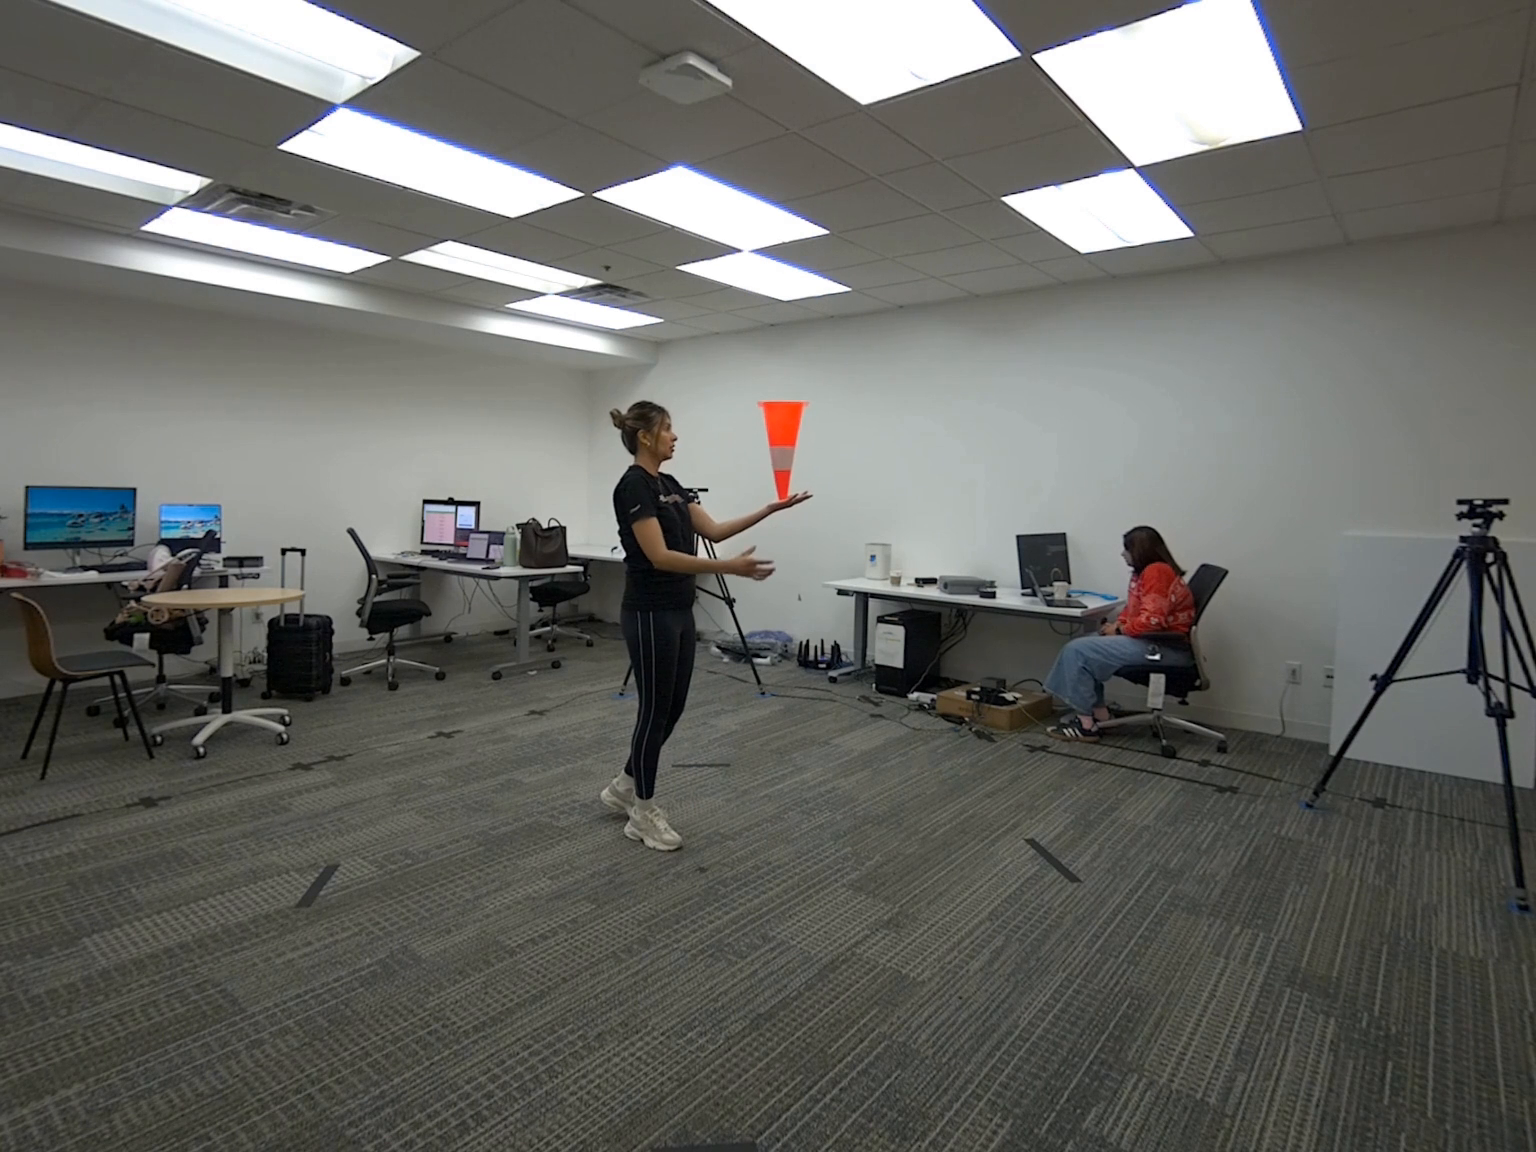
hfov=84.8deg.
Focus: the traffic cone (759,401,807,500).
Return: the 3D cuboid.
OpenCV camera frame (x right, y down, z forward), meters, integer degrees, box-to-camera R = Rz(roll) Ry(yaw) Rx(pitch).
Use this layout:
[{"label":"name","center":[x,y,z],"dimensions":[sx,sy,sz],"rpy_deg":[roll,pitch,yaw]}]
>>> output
[{"label":"traffic cone","center":[0.044,-0.481,3.319],"dimensions":[0.204,0.382,0.205],"rpy_deg":[1,3,2]}]
